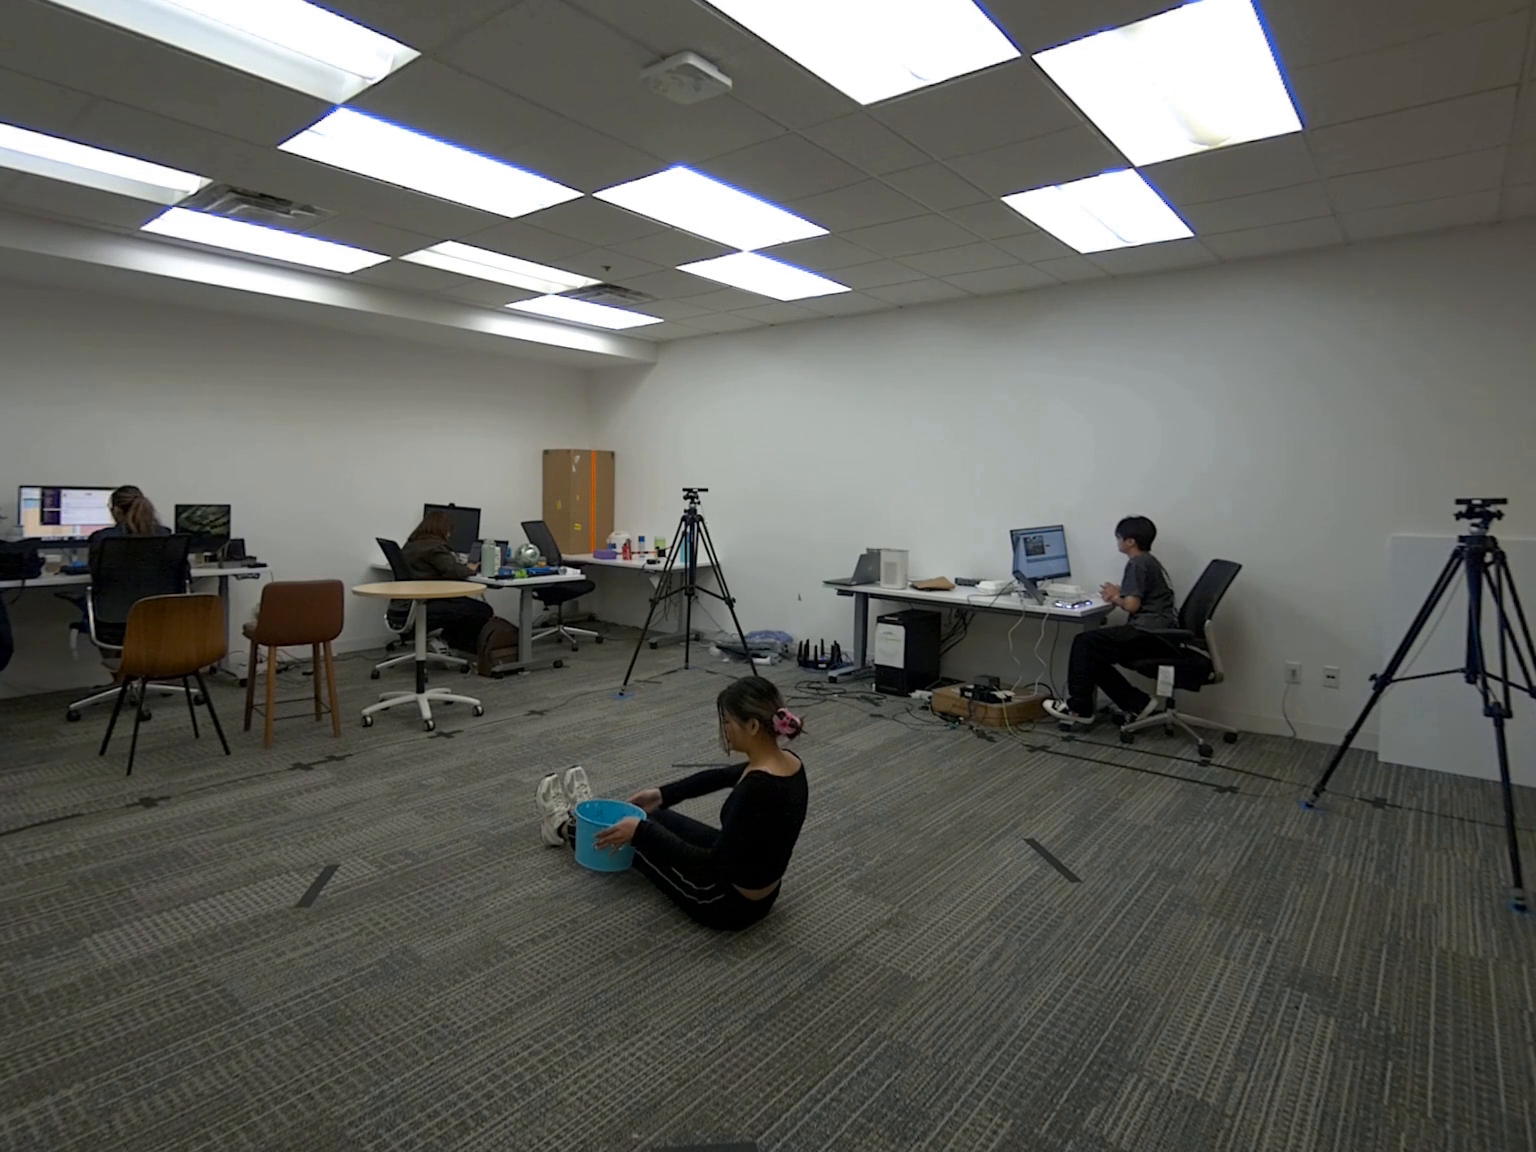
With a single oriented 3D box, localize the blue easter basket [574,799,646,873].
[{"bbox_3d":[-0.513,0.829,2.702,0.243,0.156,0.244,7,2,-2],"label":"blue easter basket"}]
